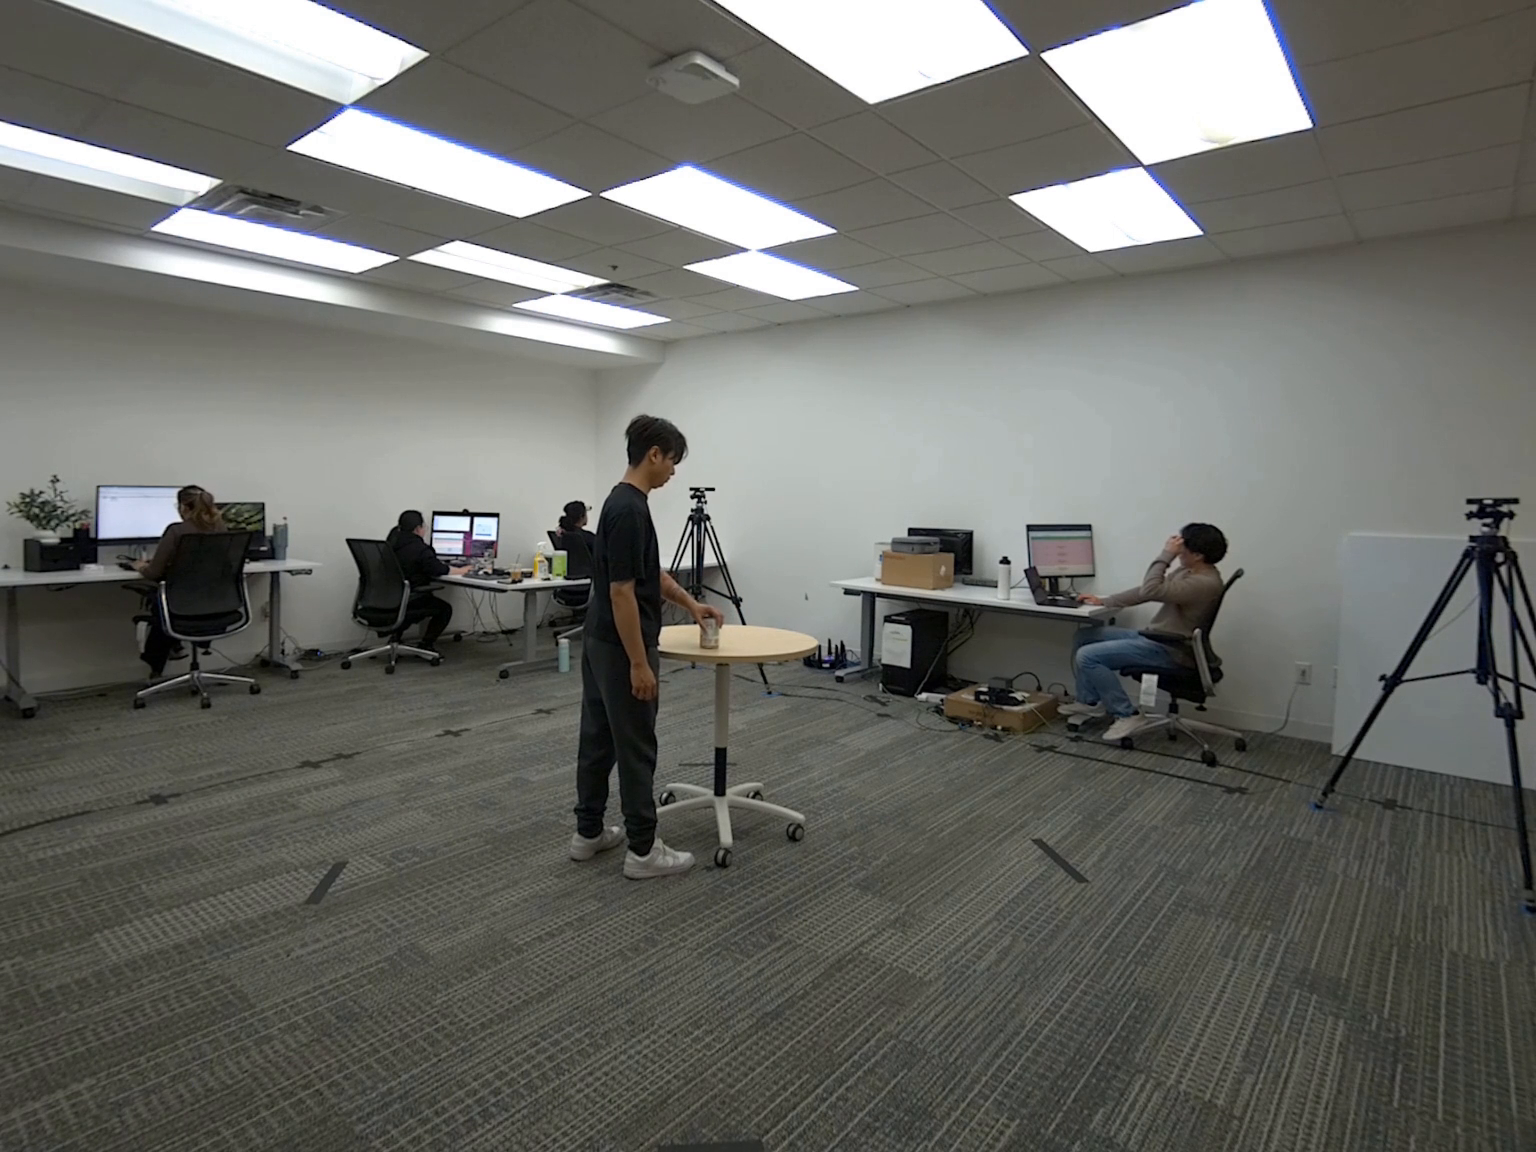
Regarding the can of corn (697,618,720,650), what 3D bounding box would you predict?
[{"bbox_3d":[-0.239,0.212,3.244,0.074,0.111,0.074,-2,4,-2],"label":"can of corn"}]
